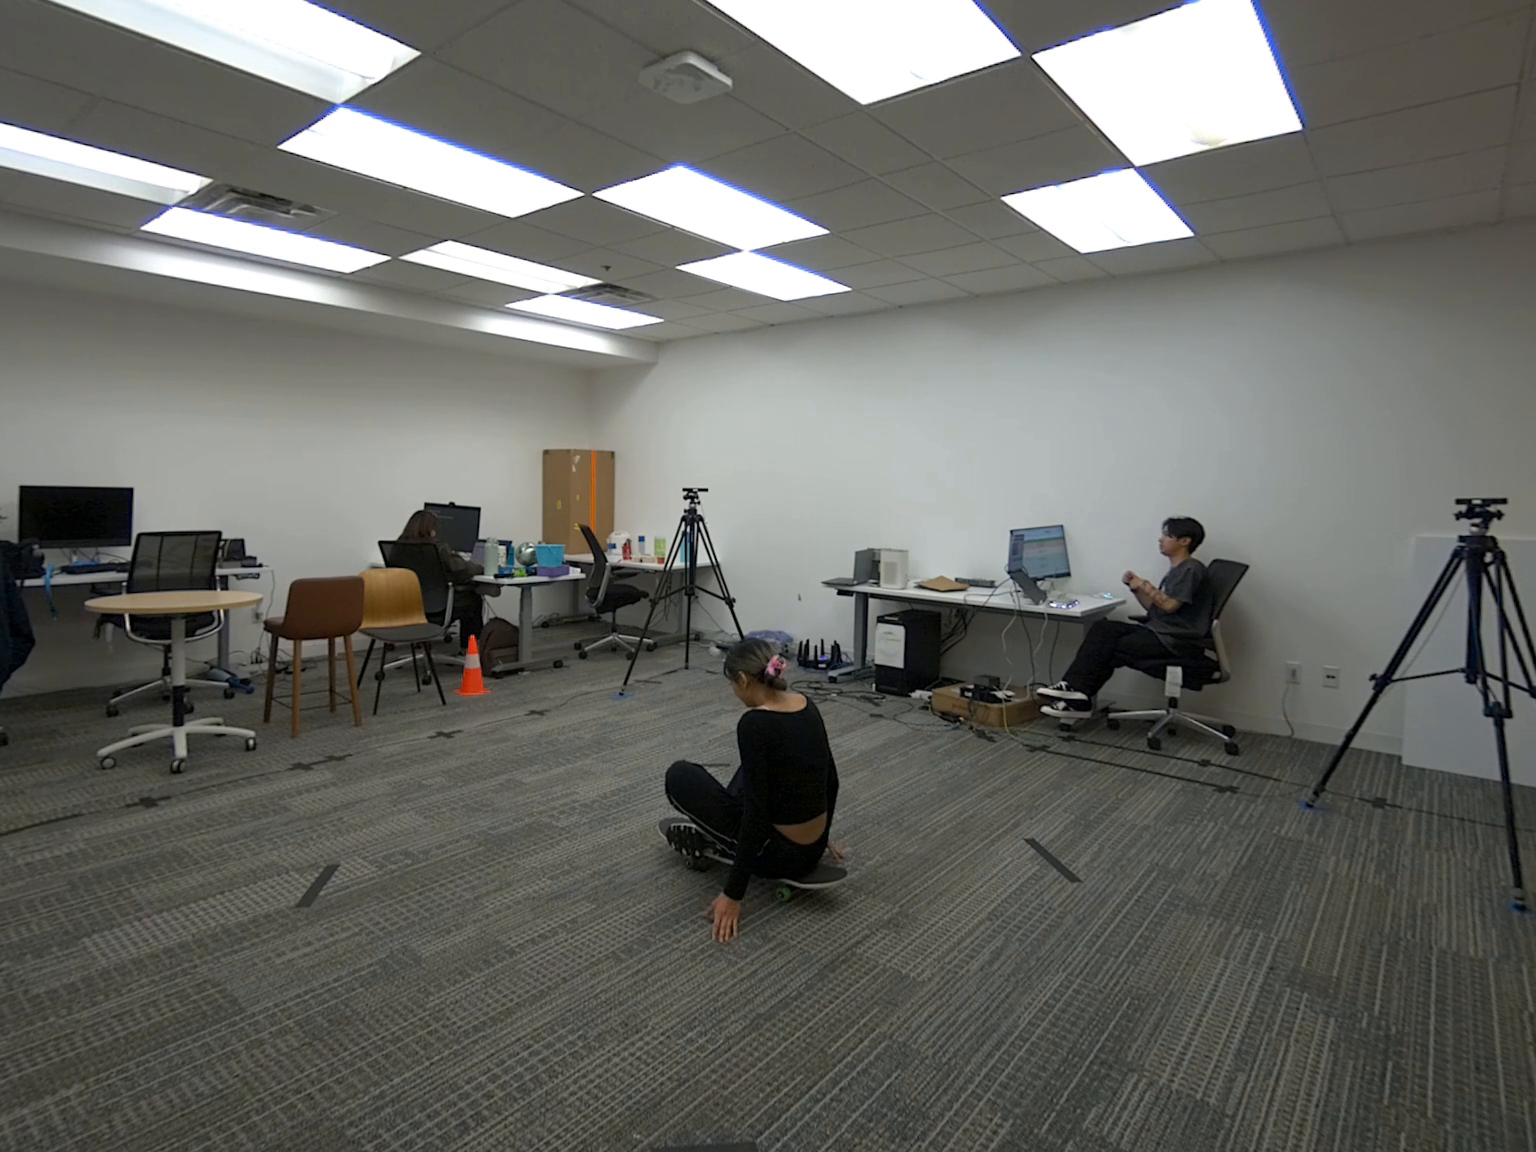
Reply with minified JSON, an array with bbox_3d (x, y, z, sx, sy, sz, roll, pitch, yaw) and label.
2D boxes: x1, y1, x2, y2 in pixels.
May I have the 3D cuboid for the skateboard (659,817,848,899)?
[{"bbox_3d":[-0.091,1.021,3.054,0.810,0.110,0.188,7,7,32],"label":"skateboard"}]
